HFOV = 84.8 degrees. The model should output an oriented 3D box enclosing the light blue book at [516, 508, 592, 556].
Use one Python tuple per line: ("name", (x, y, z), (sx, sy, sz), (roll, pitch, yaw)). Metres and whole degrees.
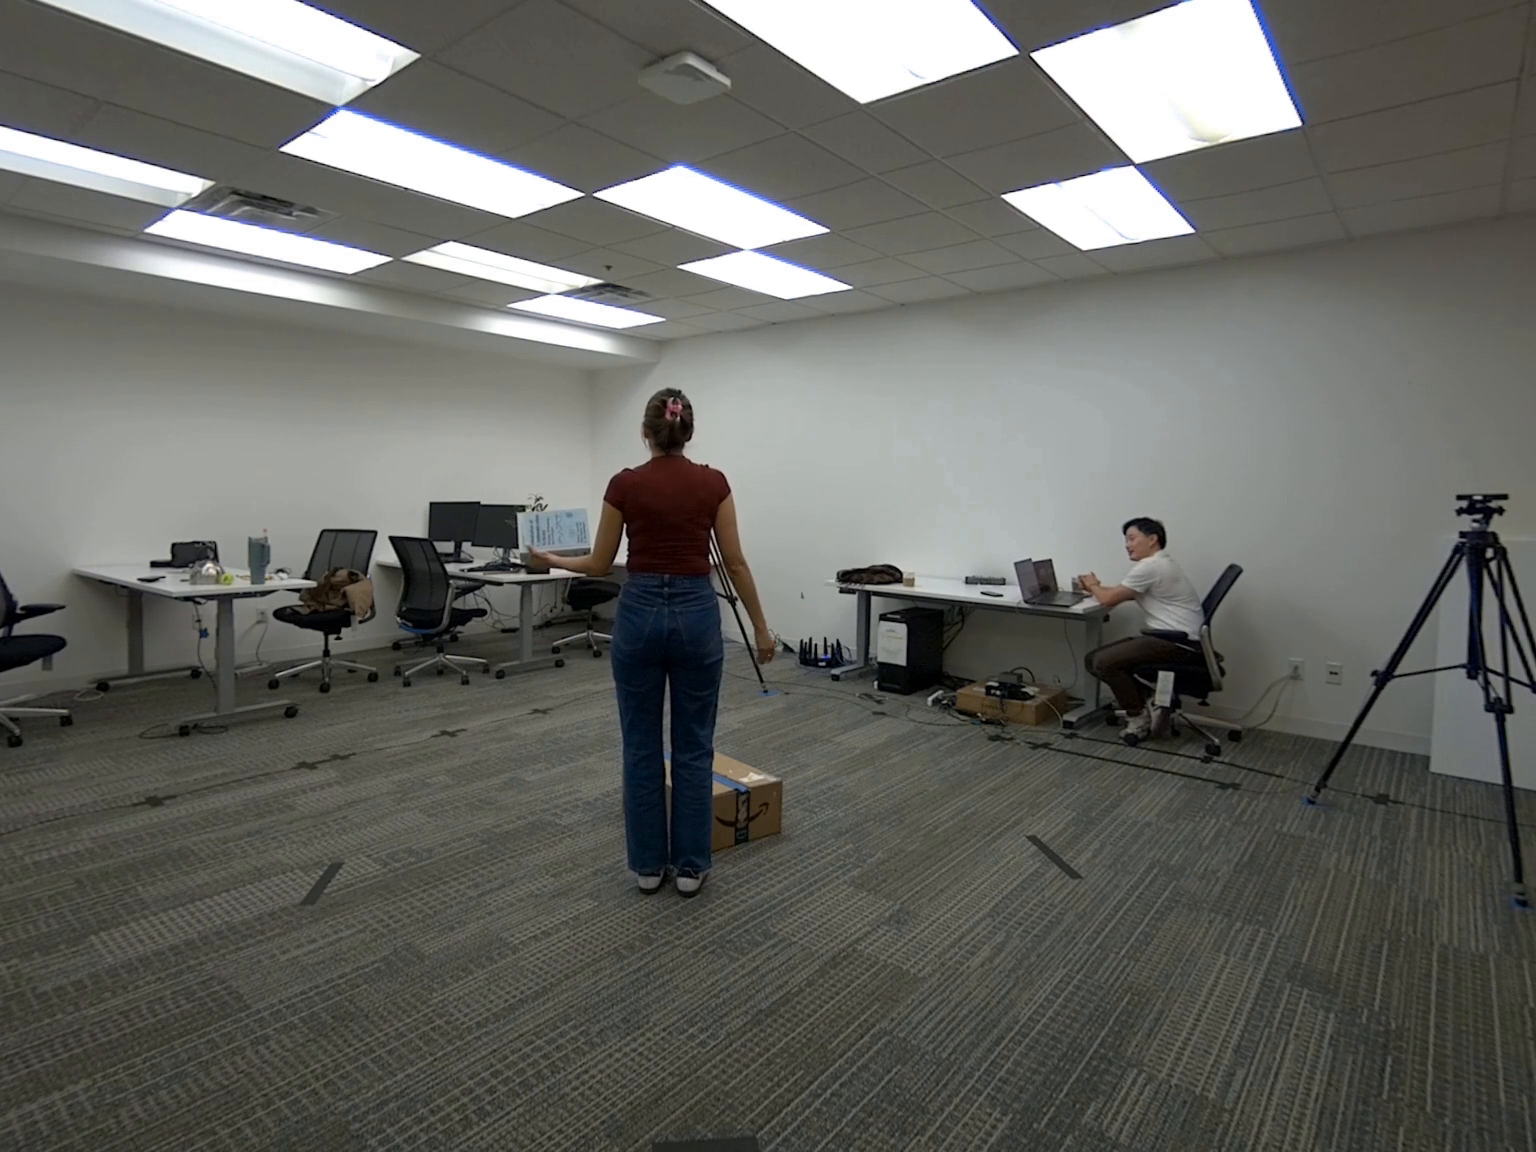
("light blue book", (-0.814, -0.154, 3.207), (0.258, 0.197, 0.058), (-3, -36, -11))
